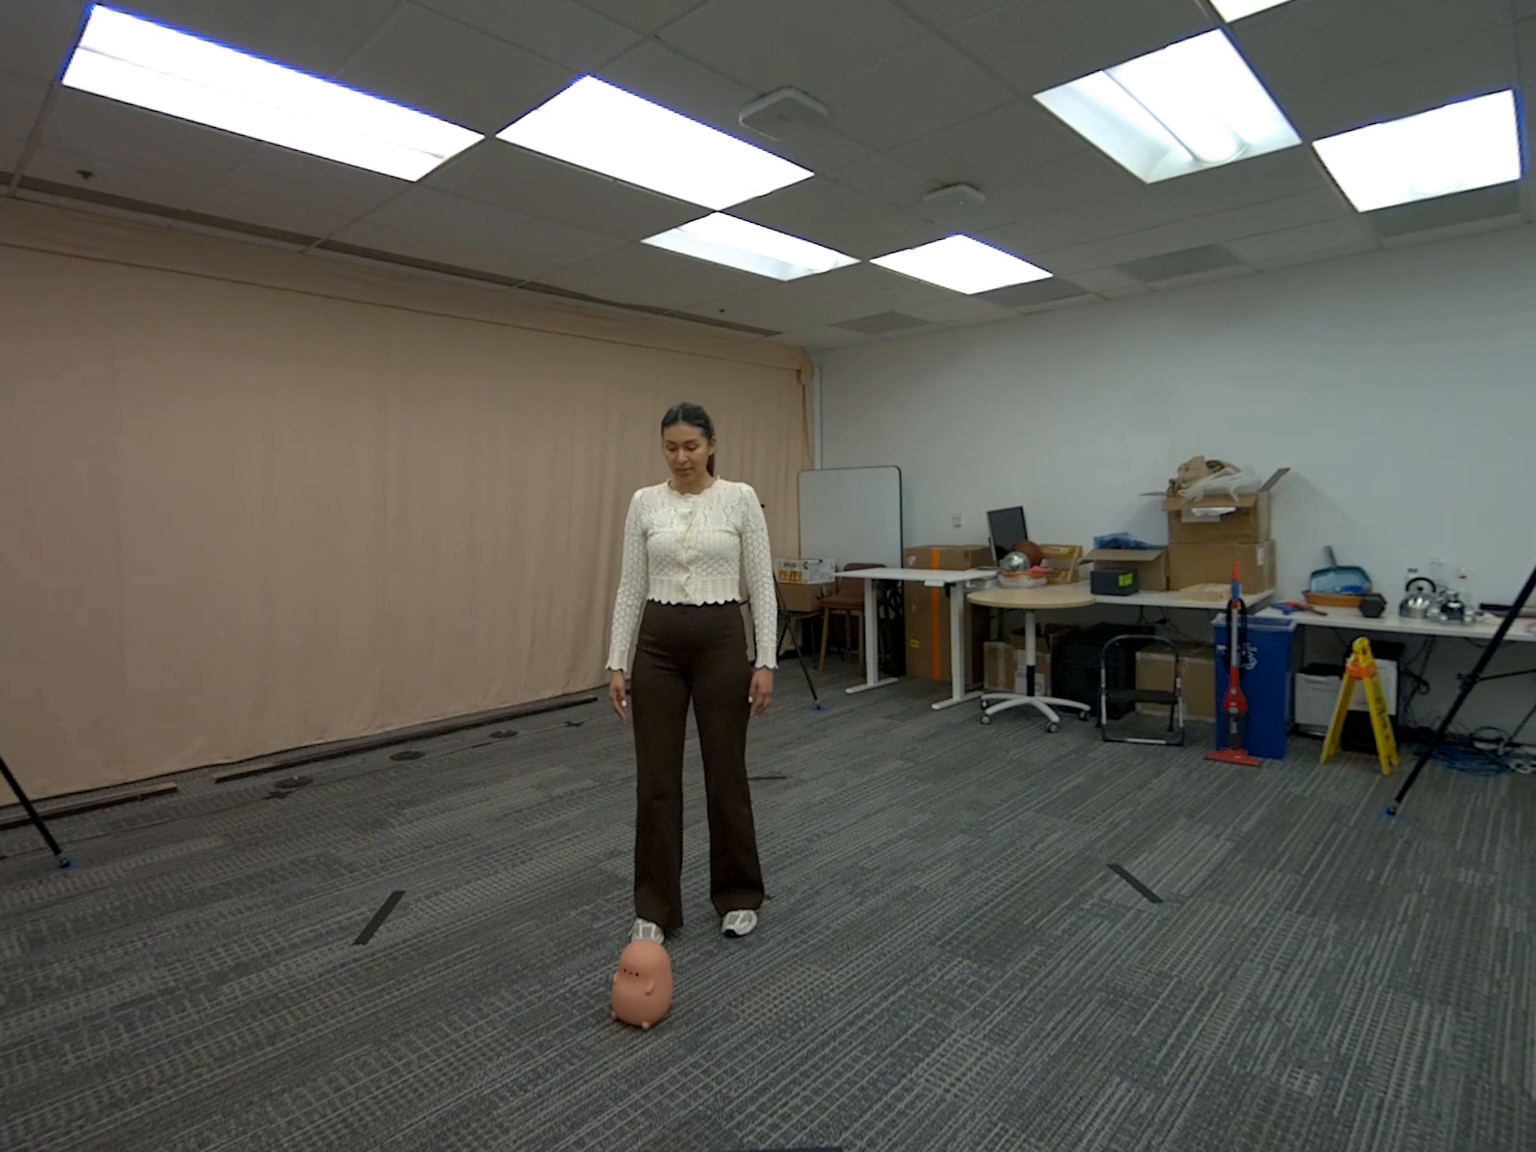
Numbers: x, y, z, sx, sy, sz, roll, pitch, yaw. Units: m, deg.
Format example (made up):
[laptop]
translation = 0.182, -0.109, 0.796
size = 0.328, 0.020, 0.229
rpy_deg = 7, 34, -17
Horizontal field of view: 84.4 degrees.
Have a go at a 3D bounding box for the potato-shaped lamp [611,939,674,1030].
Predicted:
[potato-shaped lamp]
translation = -0.342, 1.098, 2.315
size = 0.170, 0.198, 0.166
rpy_deg = 1, 3, 32
